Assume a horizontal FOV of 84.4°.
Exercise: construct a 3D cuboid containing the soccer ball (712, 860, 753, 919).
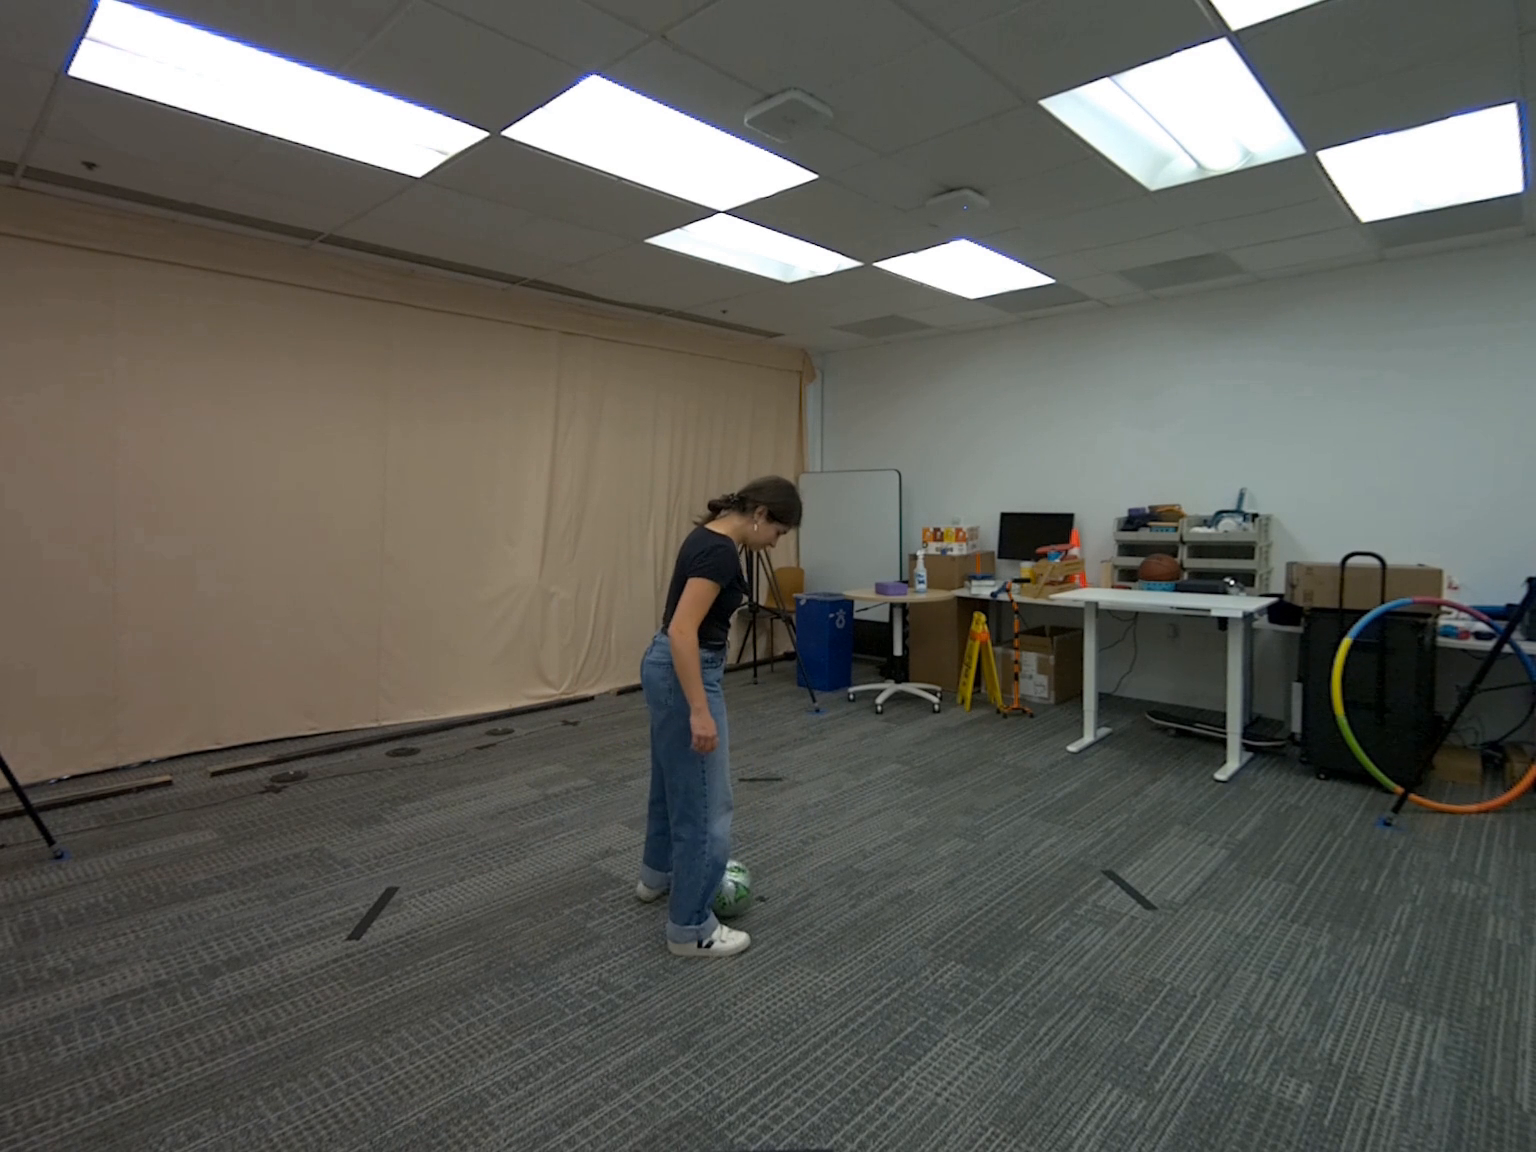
[{"bbox_3d":[-0.128,1.064,2.865,0.187,0.187,0.188,0,4,-2],"label":"soccer ball"}]
